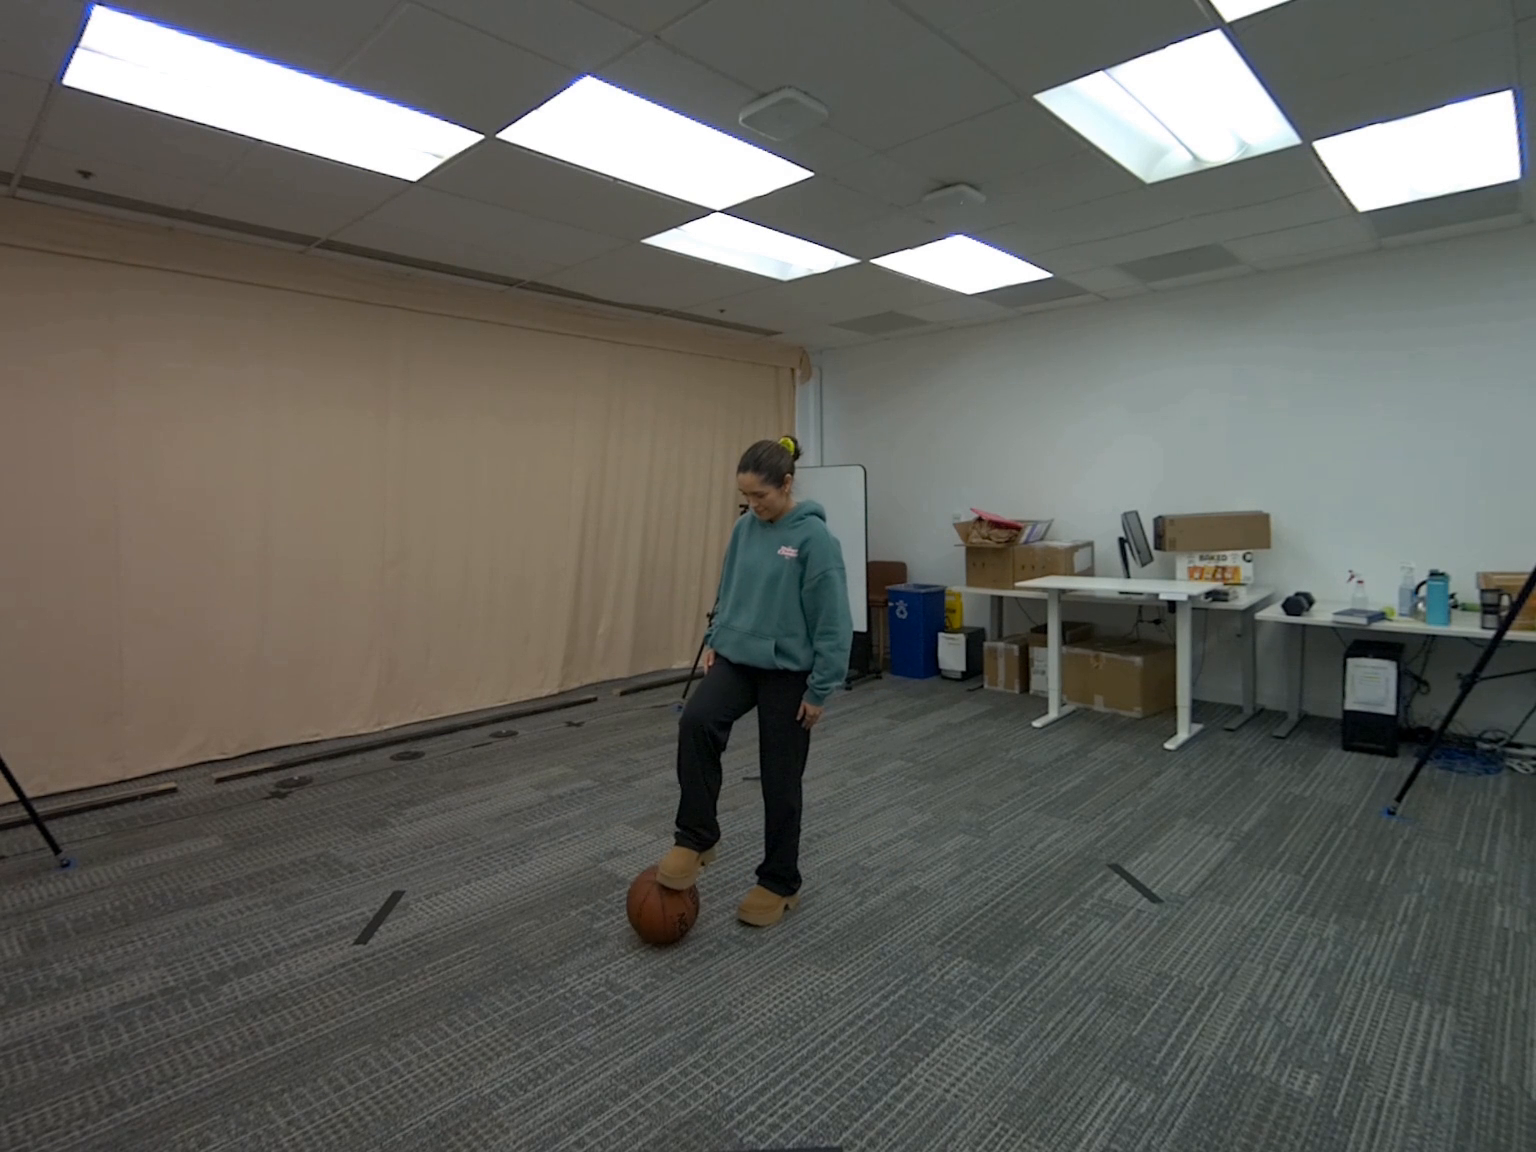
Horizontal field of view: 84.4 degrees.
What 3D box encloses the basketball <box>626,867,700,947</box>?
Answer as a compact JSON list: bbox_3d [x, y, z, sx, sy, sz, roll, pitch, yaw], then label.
[{"bbox_3d":[-0.339,1.050,2.712,0.236,0.235,0.237,-1,4,-2],"label":"basketball"}]
